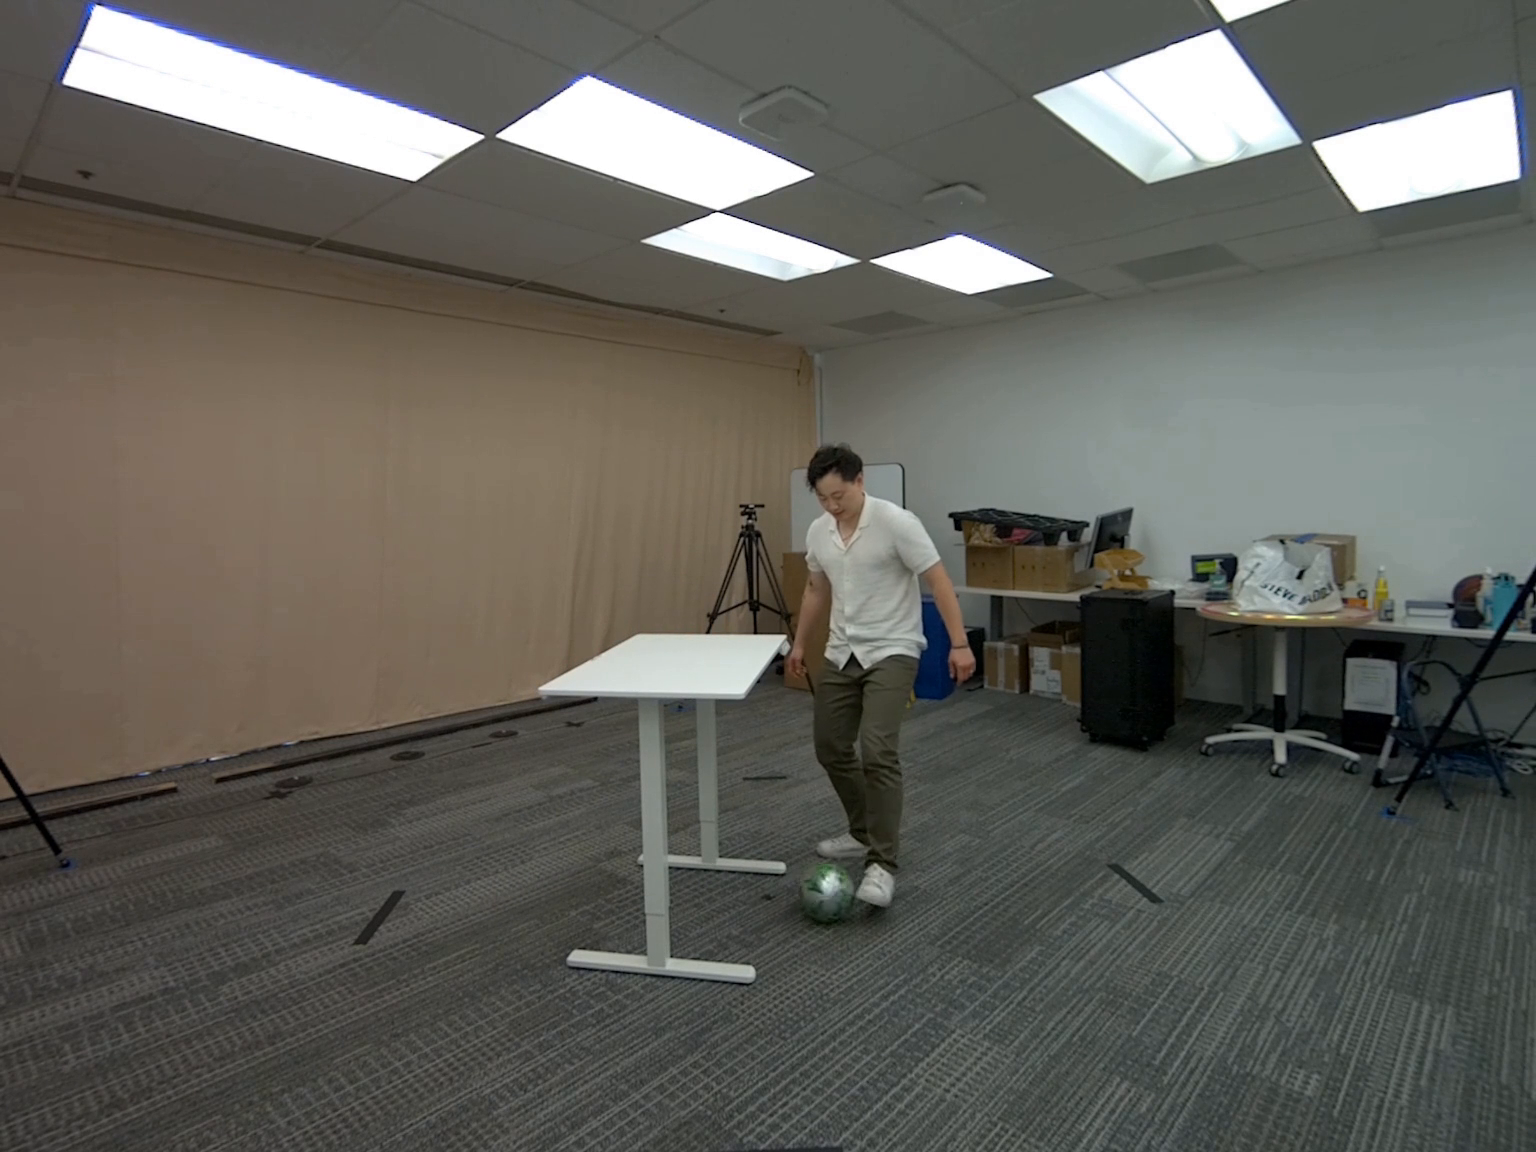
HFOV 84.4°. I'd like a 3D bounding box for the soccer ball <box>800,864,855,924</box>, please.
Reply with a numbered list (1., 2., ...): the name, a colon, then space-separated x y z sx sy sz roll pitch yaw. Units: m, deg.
1. soccer ball: 0.199 1.056 2.816 0.187 0.187 0.188 -1 4 -2
